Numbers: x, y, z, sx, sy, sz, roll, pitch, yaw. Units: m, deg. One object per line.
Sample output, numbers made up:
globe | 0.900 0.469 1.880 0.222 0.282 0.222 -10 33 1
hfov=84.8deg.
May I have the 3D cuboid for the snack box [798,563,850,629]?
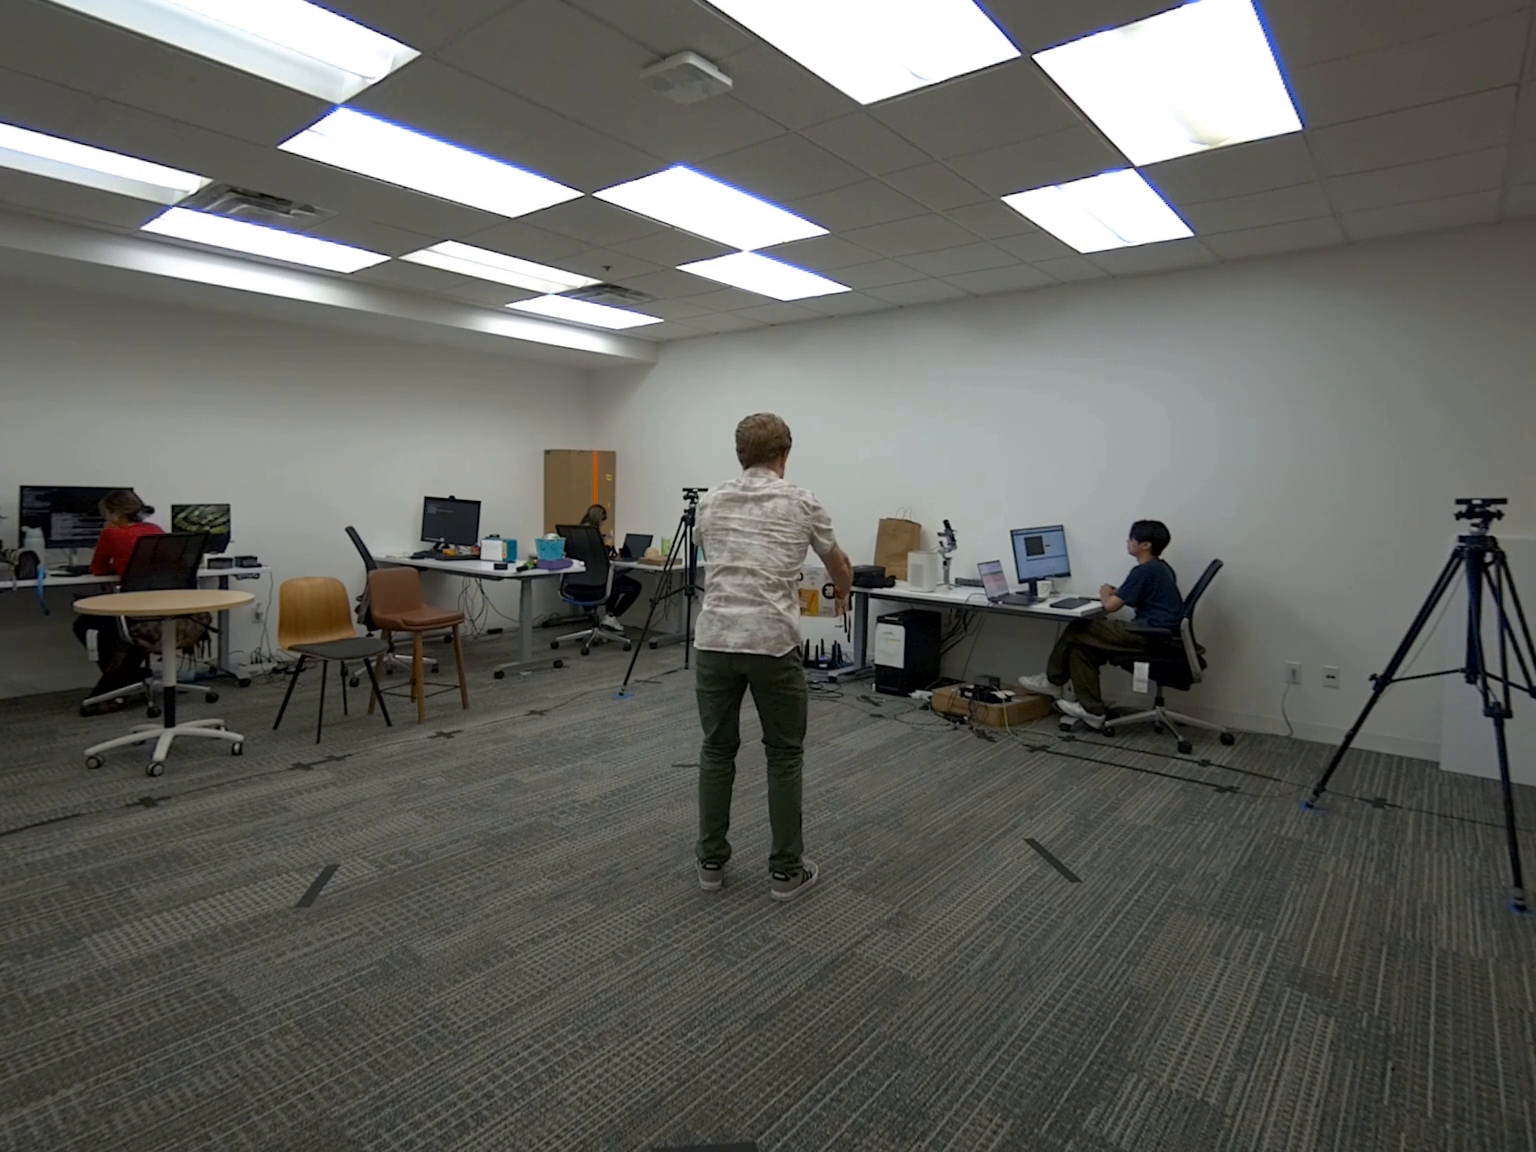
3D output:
snack box | 0.105 0.060 3.558 0.412 0.206 0.334 2 1 16
